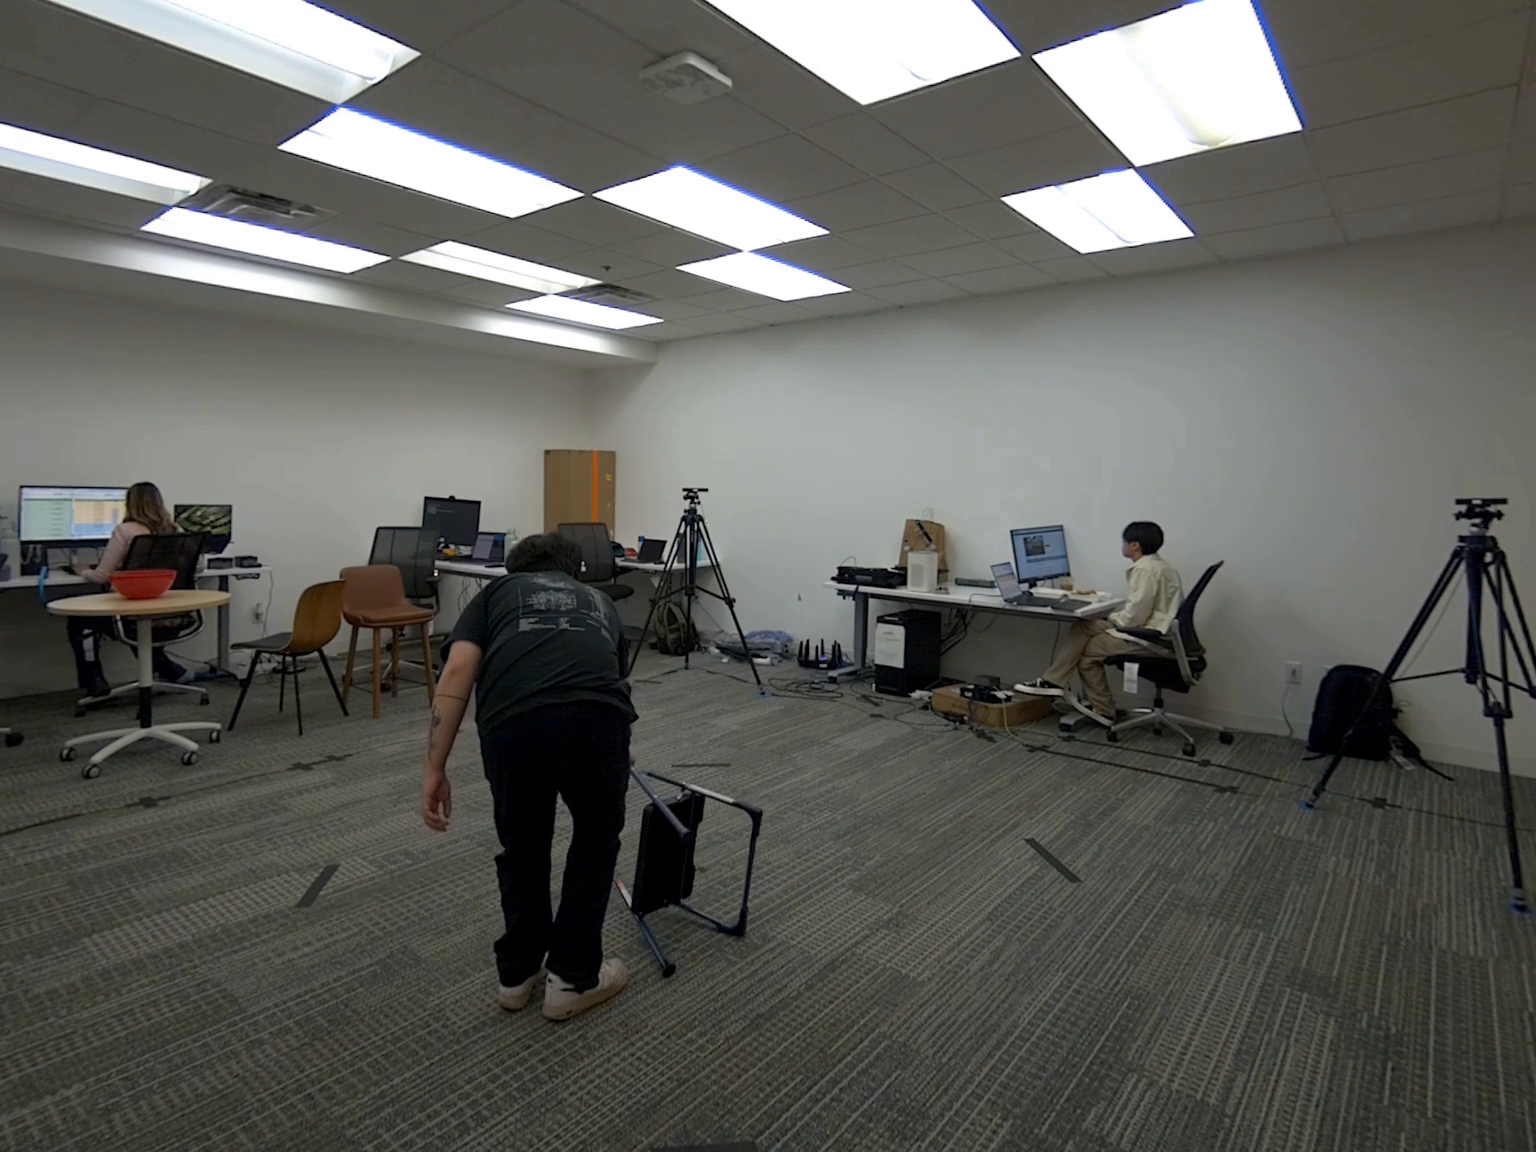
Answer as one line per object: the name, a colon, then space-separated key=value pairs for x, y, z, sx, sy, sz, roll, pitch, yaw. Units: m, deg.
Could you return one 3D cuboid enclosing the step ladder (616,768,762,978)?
step ladder: x=-0.382 y=0.847 z=2.711 sx=0.629 sy=0.428 sz=0.338 roll=15 pitch=9 yaw=41
